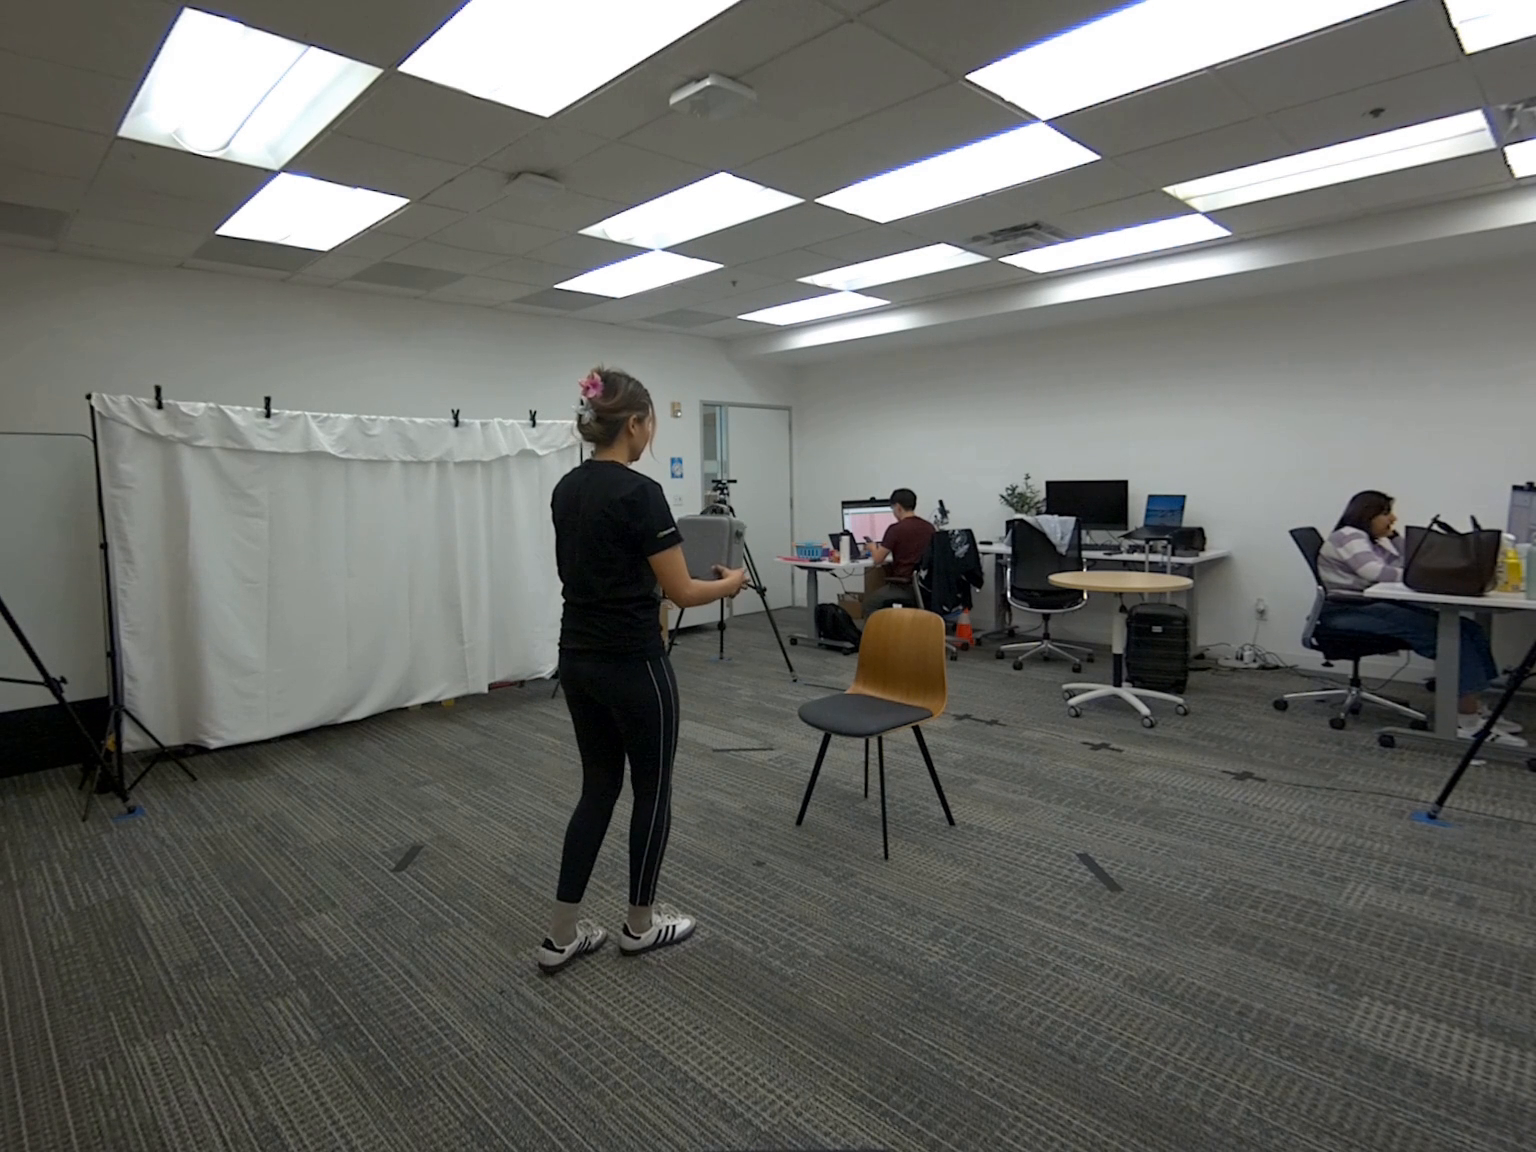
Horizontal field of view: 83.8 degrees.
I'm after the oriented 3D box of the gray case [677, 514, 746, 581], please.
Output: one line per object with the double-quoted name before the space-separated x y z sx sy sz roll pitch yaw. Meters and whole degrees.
"gray case" -0.191 -0.071 2.754 0.101 0.261 0.265 5 0 -44
